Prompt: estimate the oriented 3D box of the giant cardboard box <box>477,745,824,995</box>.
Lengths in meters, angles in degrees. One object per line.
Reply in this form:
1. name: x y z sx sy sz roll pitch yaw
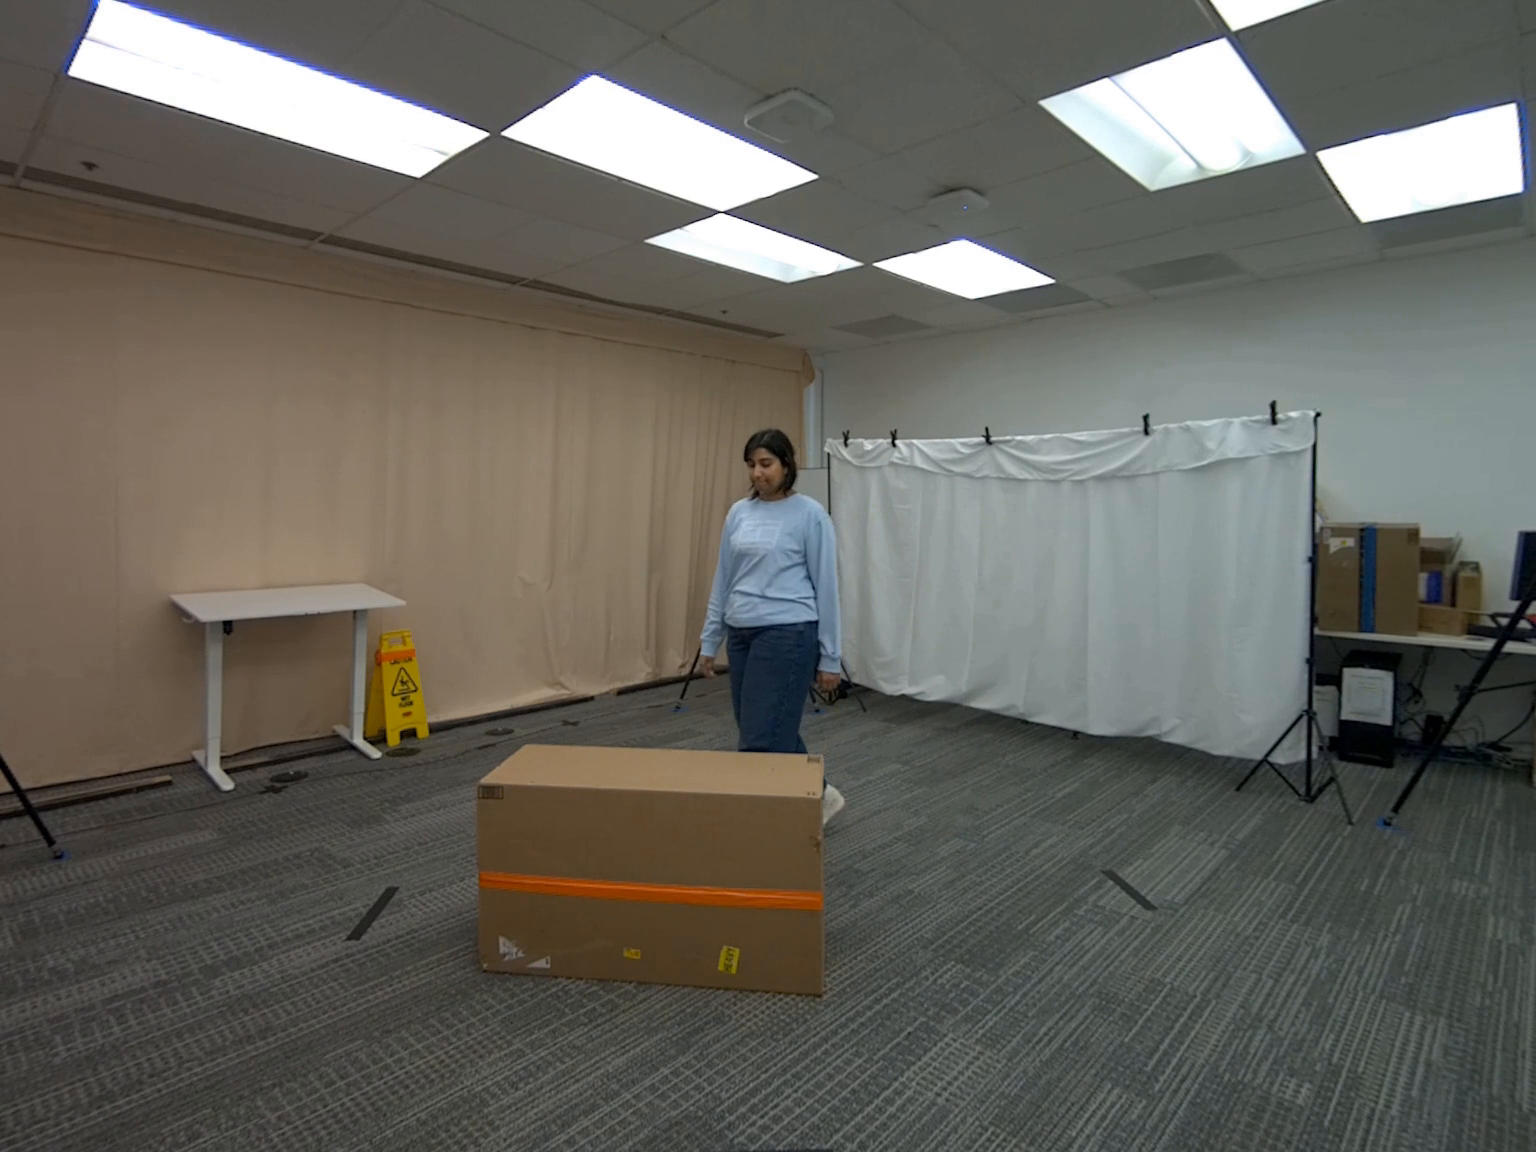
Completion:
1. giant cardboard box: -0.342 0.884 2.643 1.035 0.576 0.423 1 4 7
